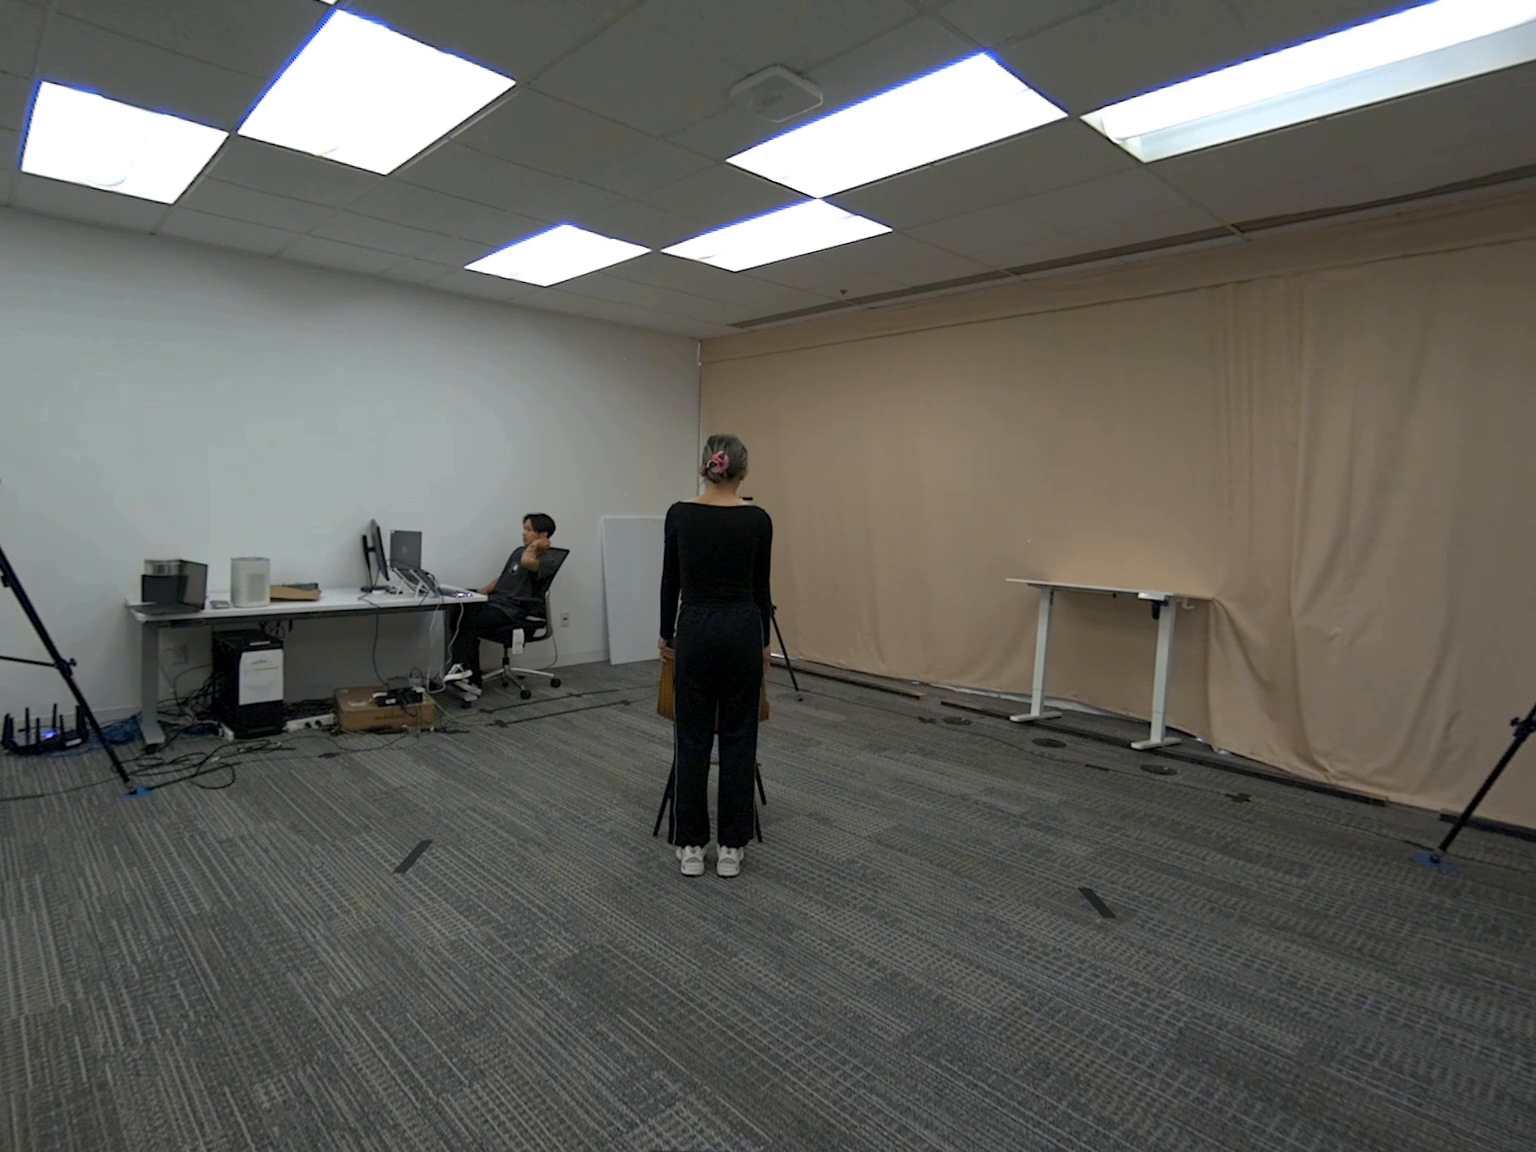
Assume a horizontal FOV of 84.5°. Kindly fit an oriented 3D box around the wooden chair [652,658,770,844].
[{"bbox_3d":[-0.235,0.636,3.641,0.480,0.872,0.524,1,8,3],"label":"wooden chair"}]
